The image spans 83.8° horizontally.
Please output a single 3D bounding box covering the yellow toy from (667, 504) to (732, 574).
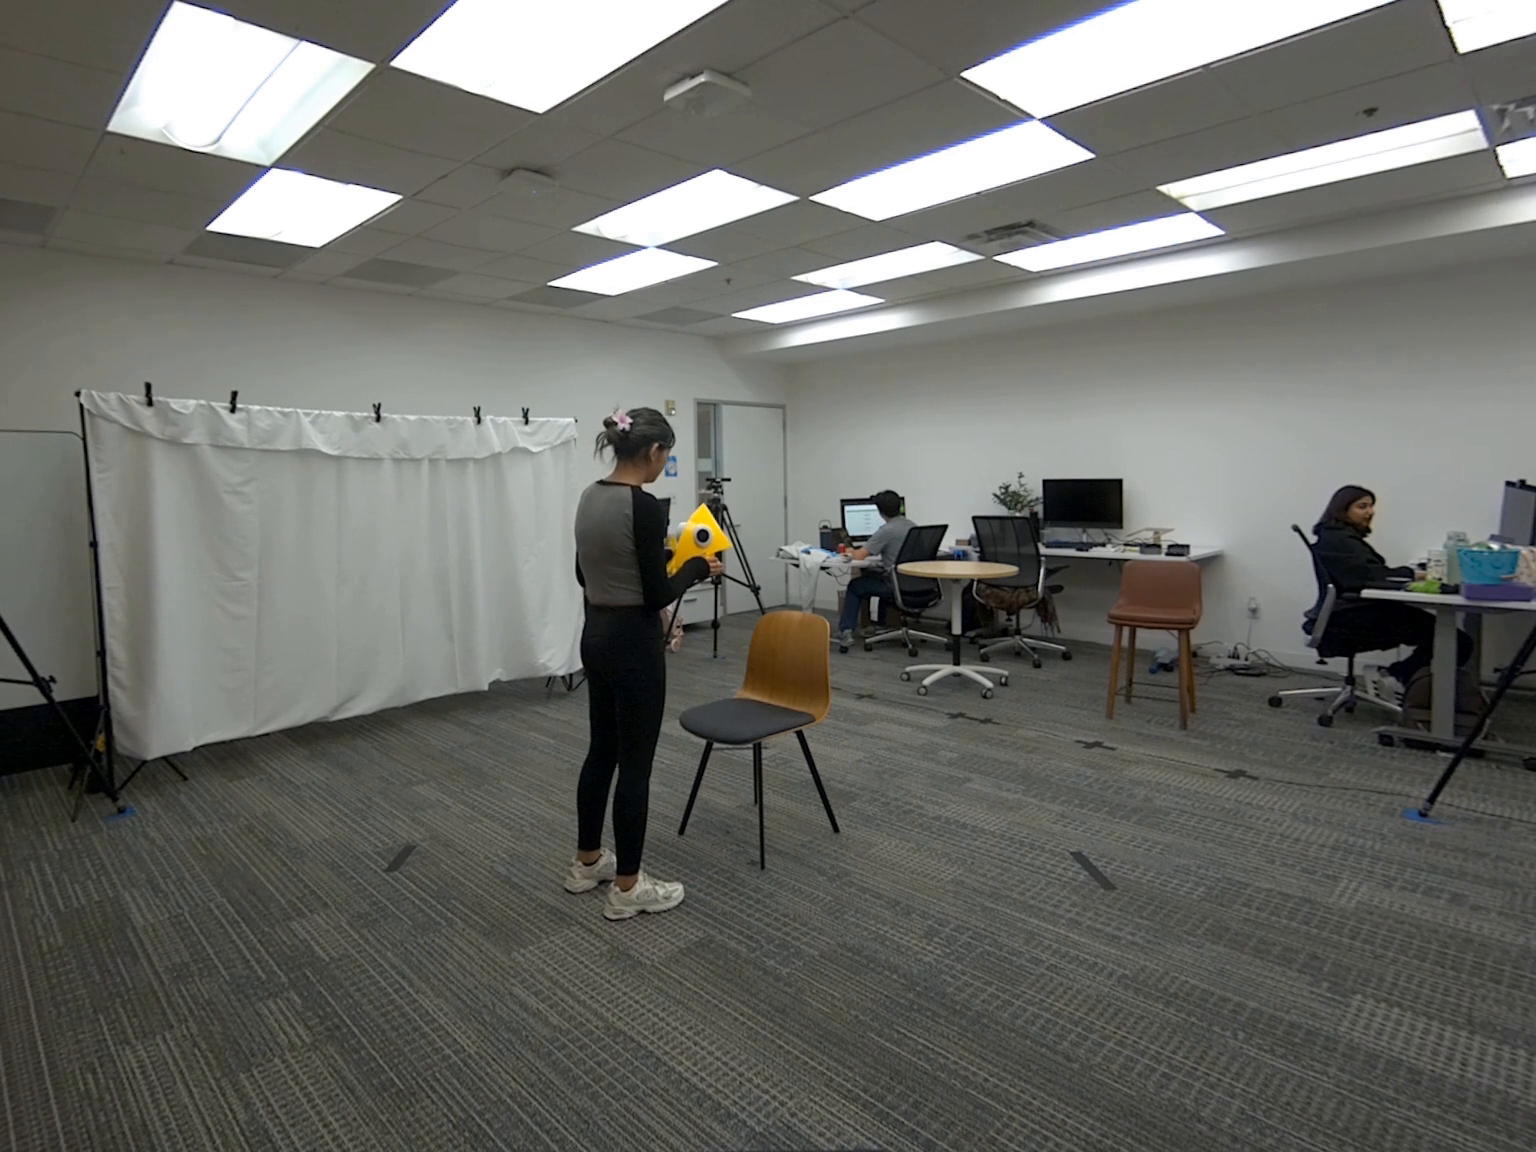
[{"bbox_3d":[-0.259,-0.132,2.991,0.211,0.228,0.189,6,14,44],"label":"yellow toy"}]
